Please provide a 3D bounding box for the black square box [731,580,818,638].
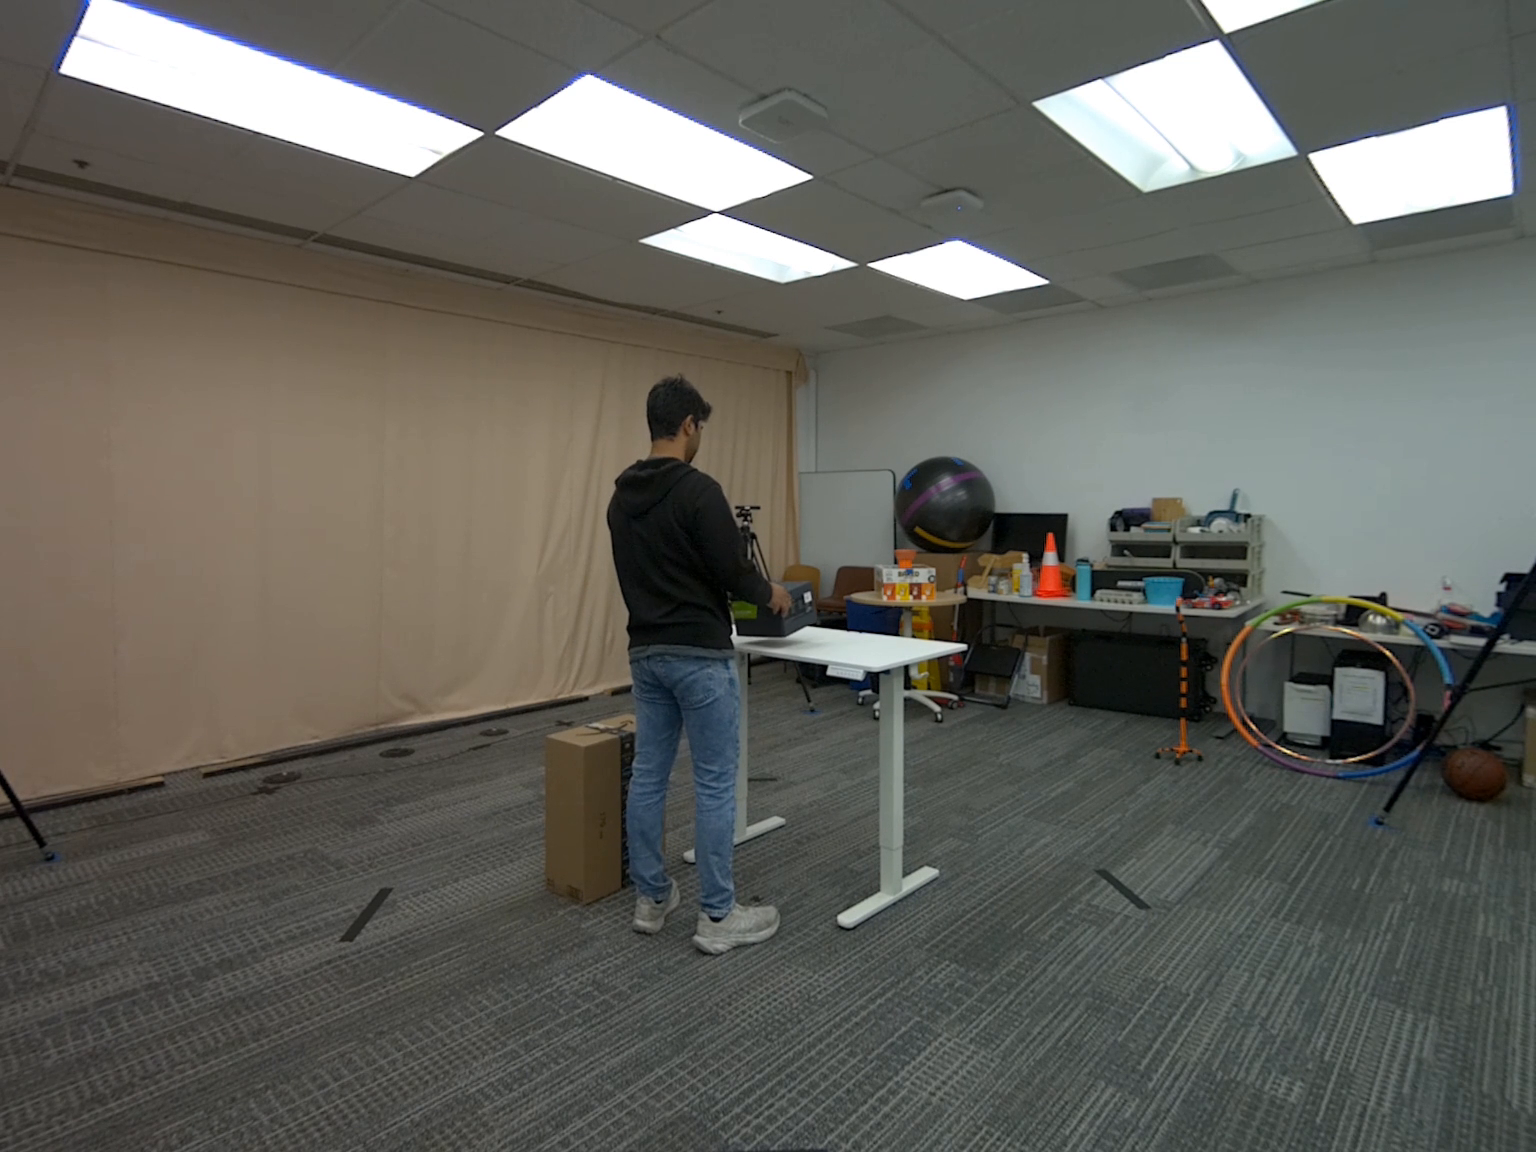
[{"bbox_3d":[0.014,0.121,3.126,0.235,0.155,0.212,-2,12,39],"label":"black square box"}]
